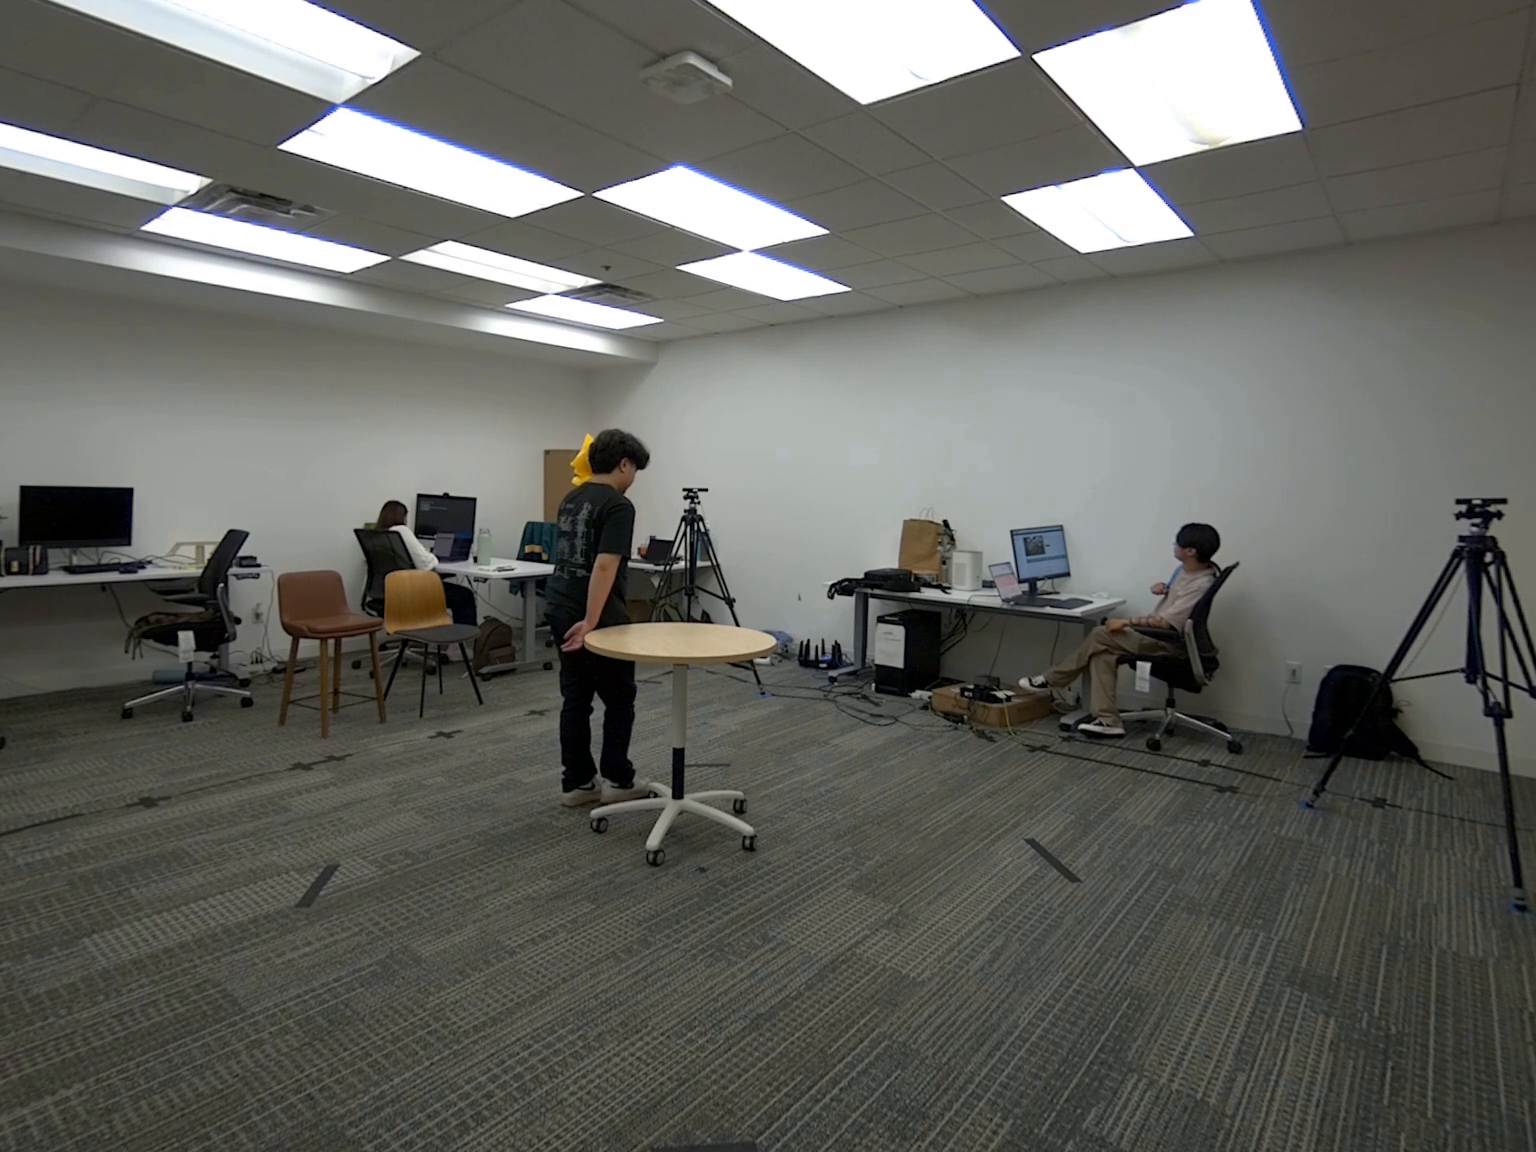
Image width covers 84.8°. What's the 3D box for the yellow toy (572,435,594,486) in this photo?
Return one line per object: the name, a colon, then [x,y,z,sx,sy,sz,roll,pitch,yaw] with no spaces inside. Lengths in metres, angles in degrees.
yellow toy: [-0.815,-0.529,3.914,0.190,0.230,0.208,15,7,-11]
